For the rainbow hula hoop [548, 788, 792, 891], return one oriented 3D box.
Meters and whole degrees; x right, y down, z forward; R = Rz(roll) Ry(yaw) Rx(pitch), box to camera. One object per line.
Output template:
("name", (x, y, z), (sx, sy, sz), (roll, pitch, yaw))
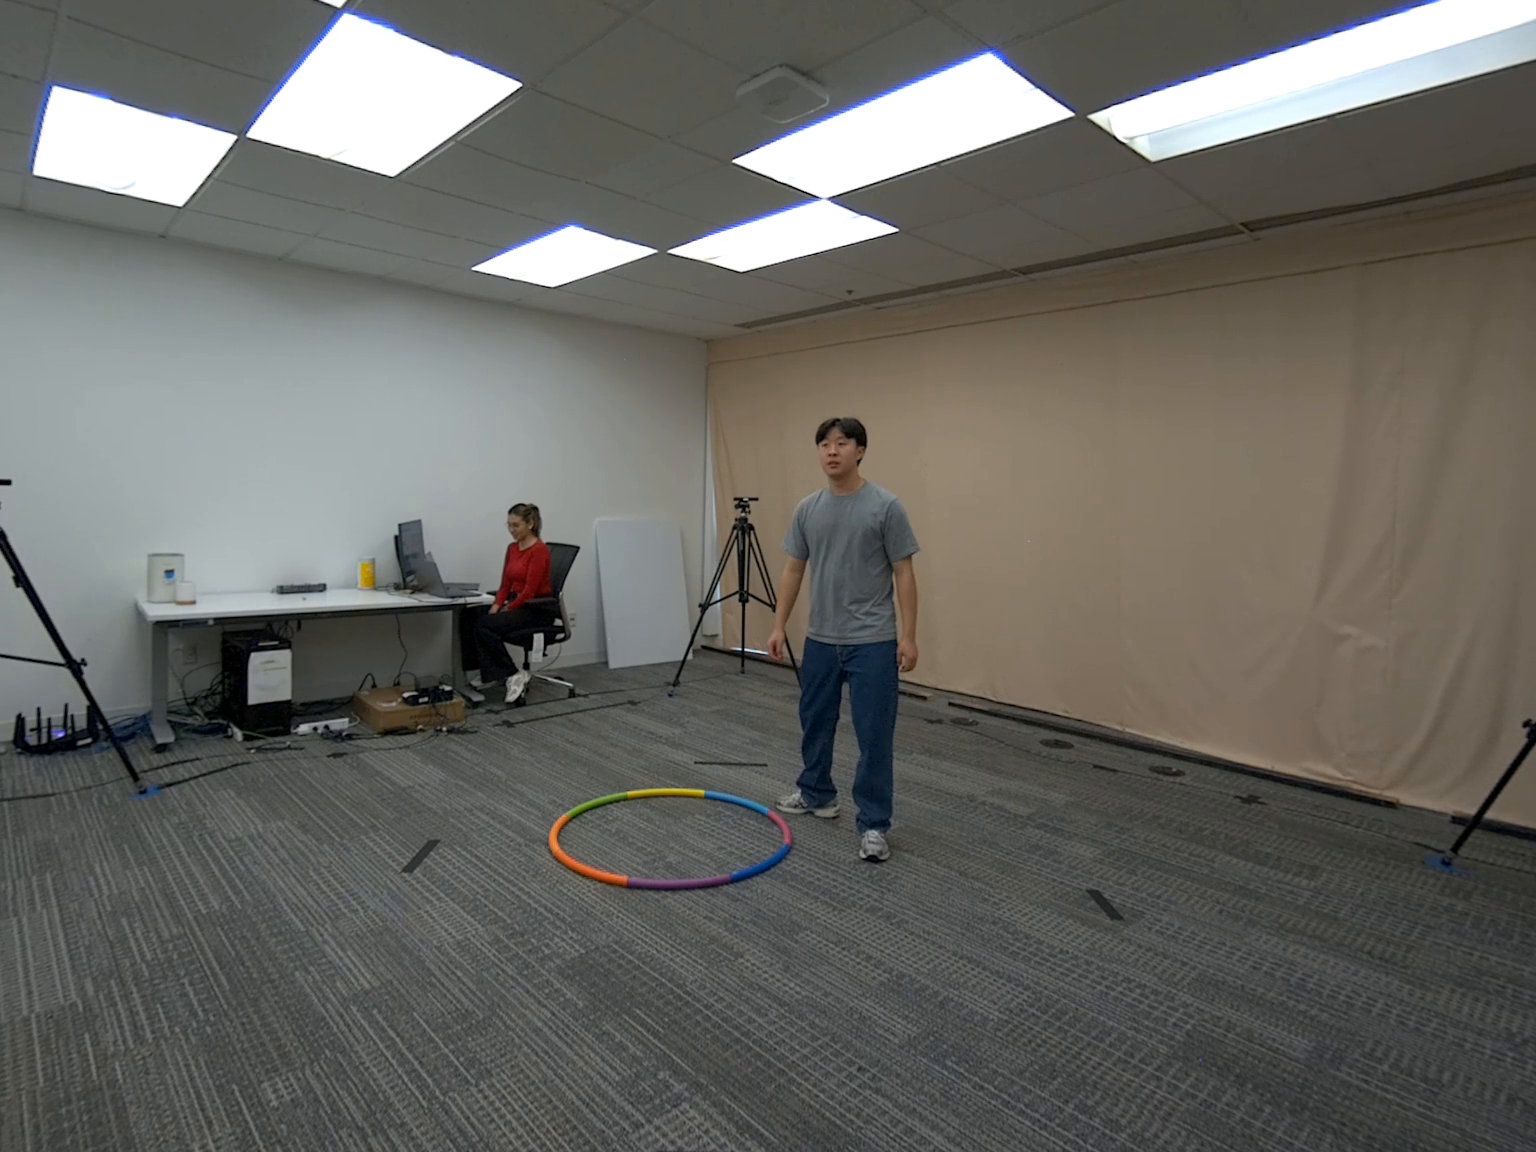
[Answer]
("rainbow hula hoop", (-0.408, 1.040, 3.462), (0.978, 0.035, 0.982), (2, 5, -1))
